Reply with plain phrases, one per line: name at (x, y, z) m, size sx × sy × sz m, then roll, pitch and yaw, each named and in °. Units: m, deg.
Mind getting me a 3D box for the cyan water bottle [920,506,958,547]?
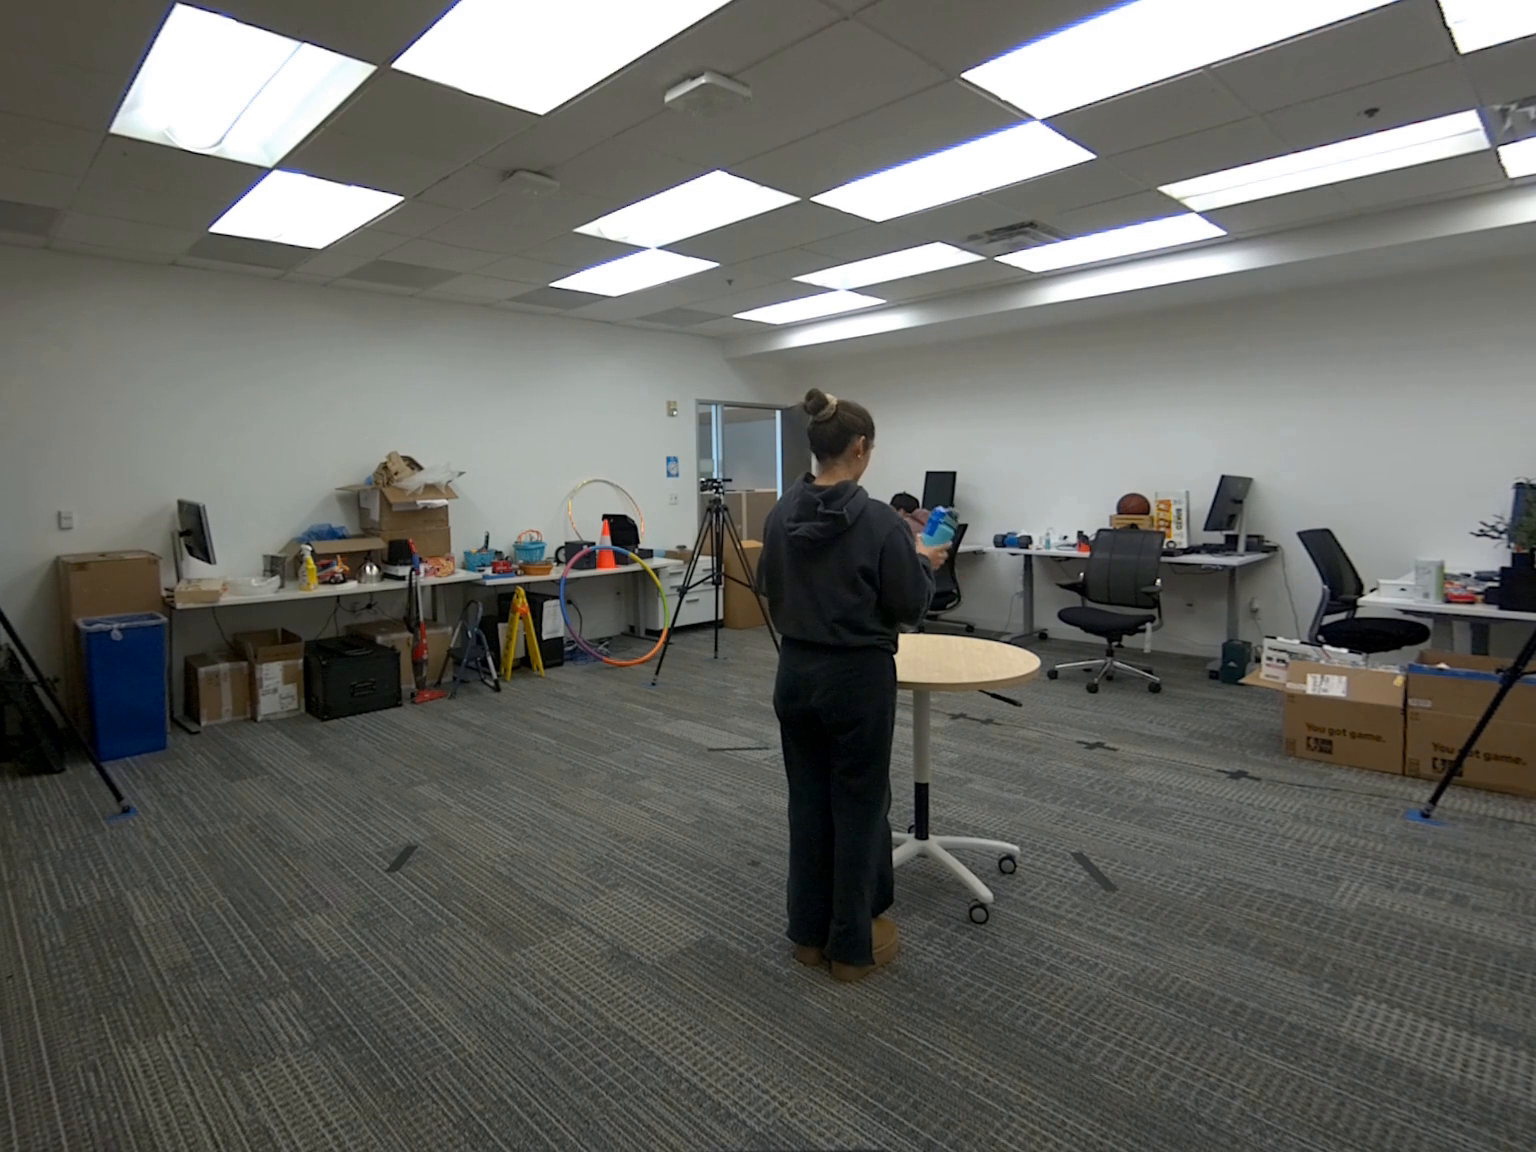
cyan water bottle at (0.478, -0.086, 2.615) m, size 0.092 × 0.283 × 0.092 m, roll 27°, pitch 1°, yaw -3°
